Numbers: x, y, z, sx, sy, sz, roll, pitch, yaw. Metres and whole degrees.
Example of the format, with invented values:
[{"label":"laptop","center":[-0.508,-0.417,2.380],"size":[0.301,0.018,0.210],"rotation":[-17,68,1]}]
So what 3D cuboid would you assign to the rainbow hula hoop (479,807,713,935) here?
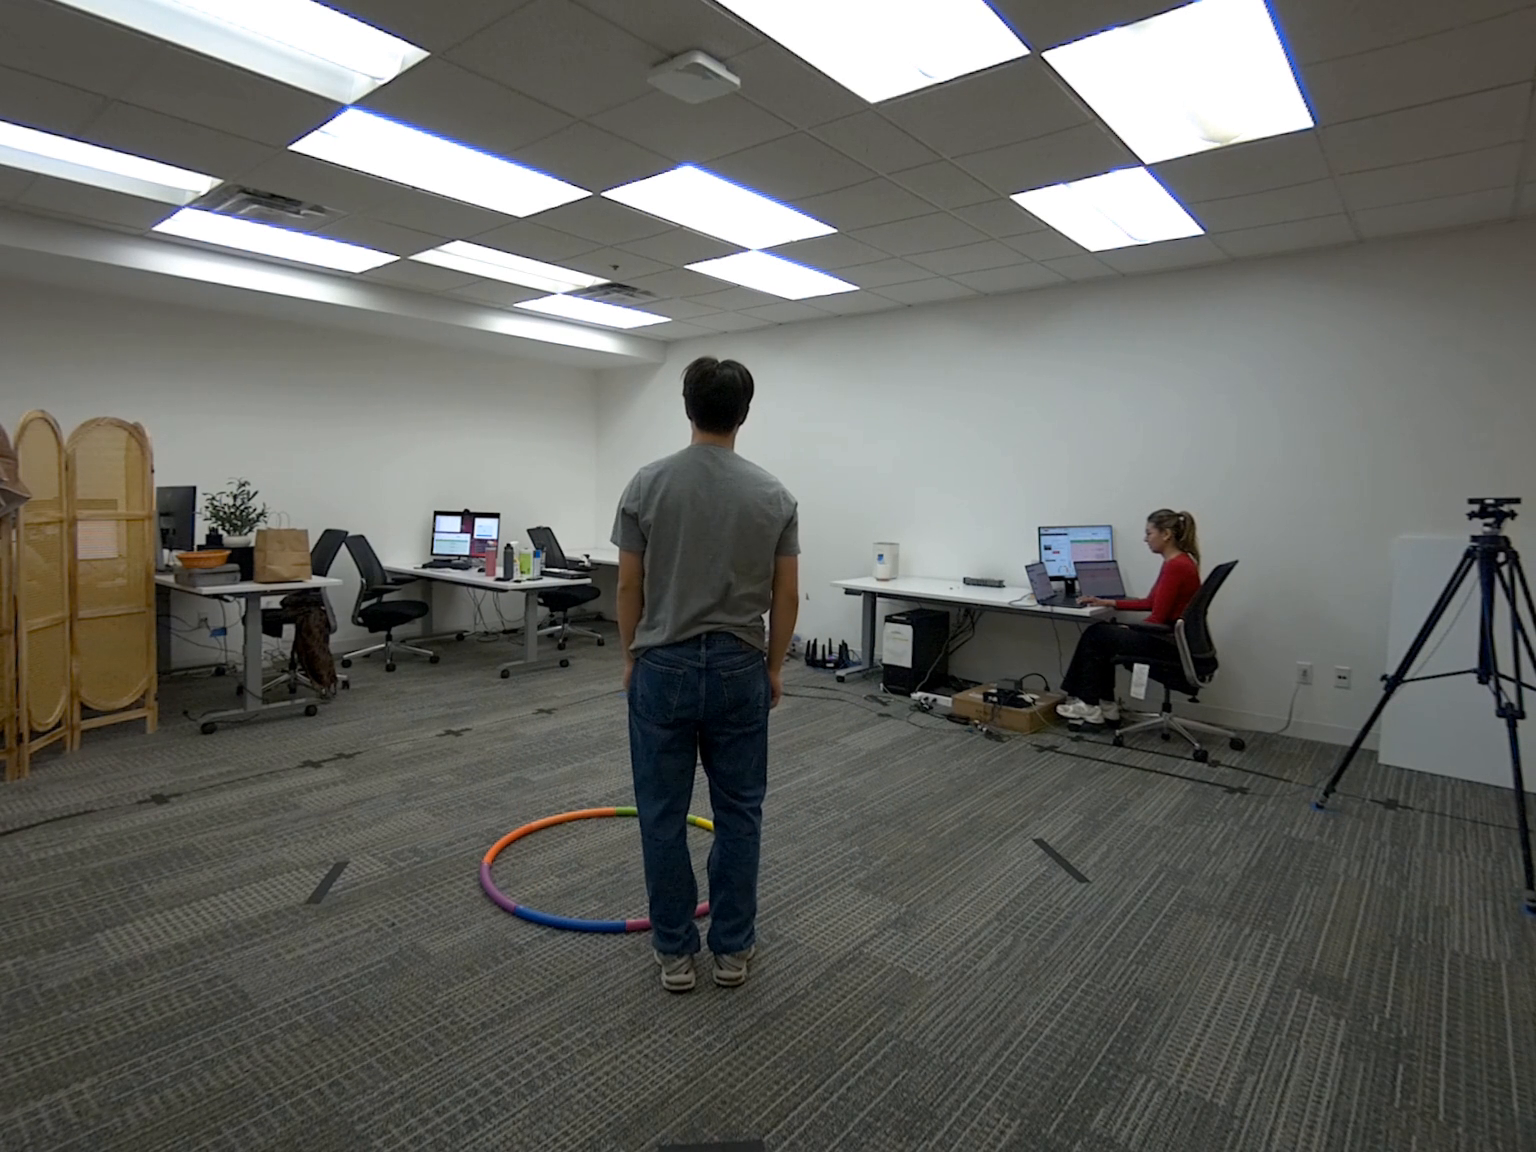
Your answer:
[{"label":"rainbow hula hoop","center":[-0.558,1.031,3.122],"size":[0.978,0.035,0.984],"rotation":[1,6,-2]}]
